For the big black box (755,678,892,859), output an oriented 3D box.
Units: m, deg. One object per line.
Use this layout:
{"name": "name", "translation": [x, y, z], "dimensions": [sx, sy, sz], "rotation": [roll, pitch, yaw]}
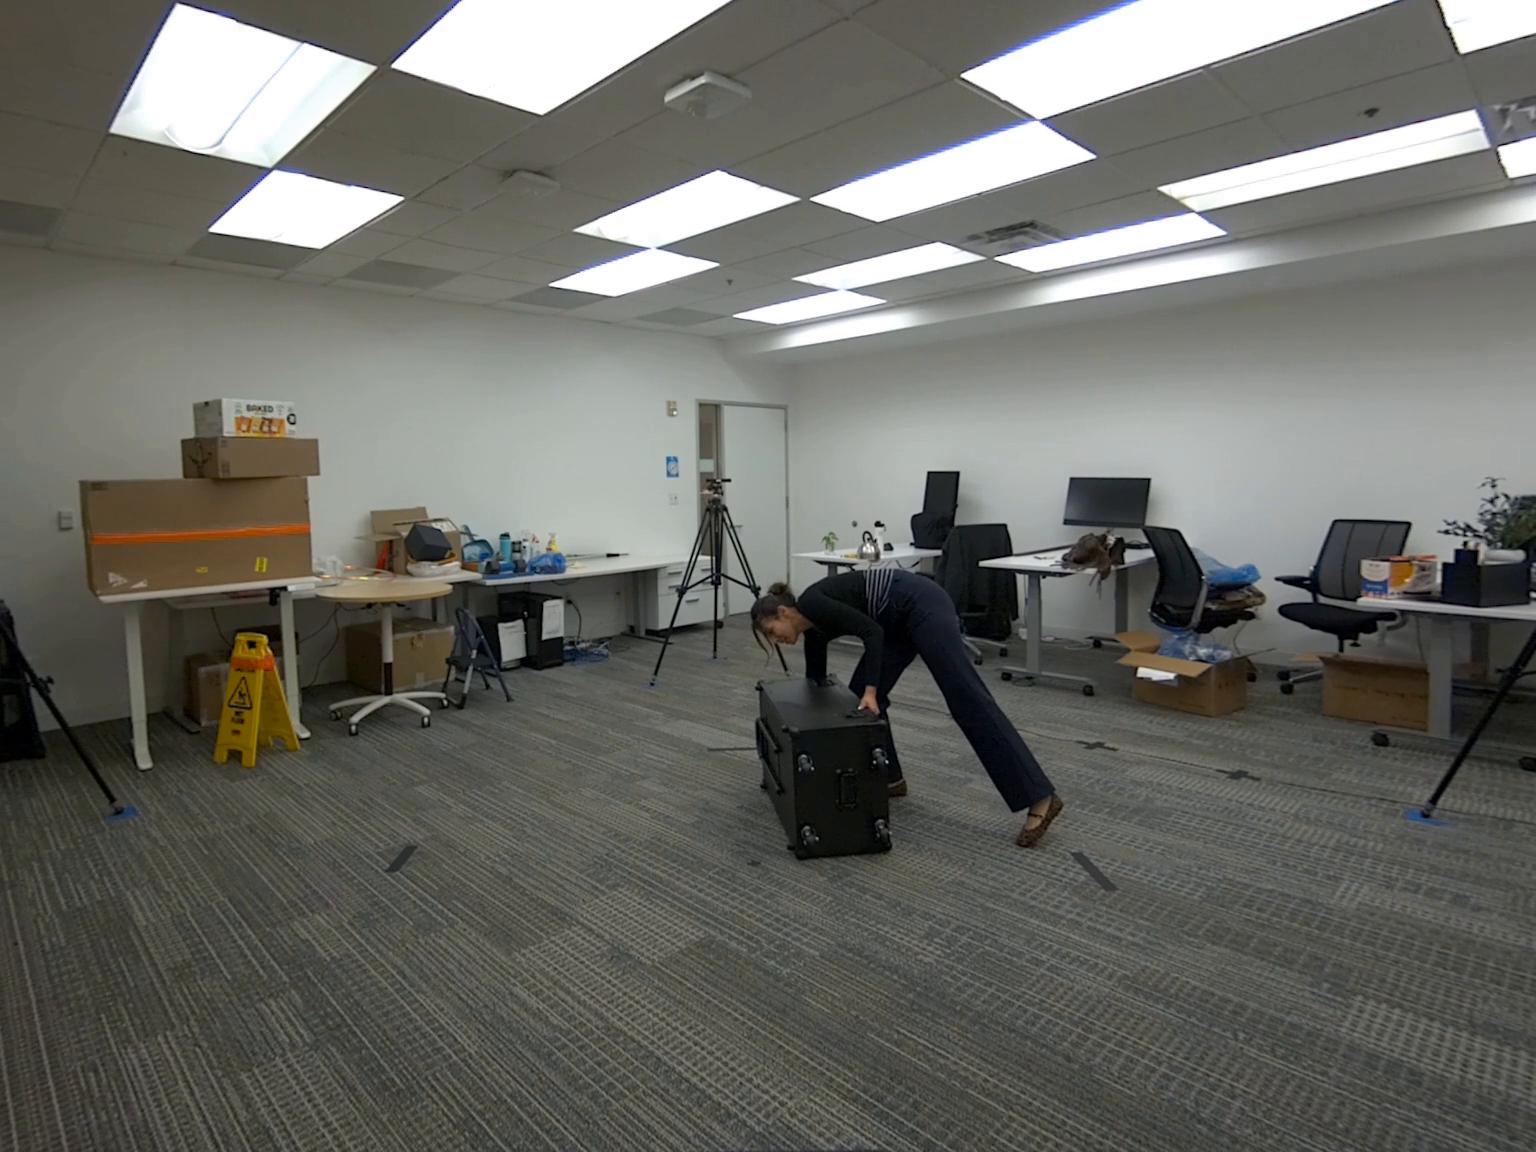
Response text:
{"name": "big black box", "translation": [0.197, 0.743, 3.472], "dimensions": [0.393, 0.519, 0.872], "rotation": [-5, 6, -10]}
